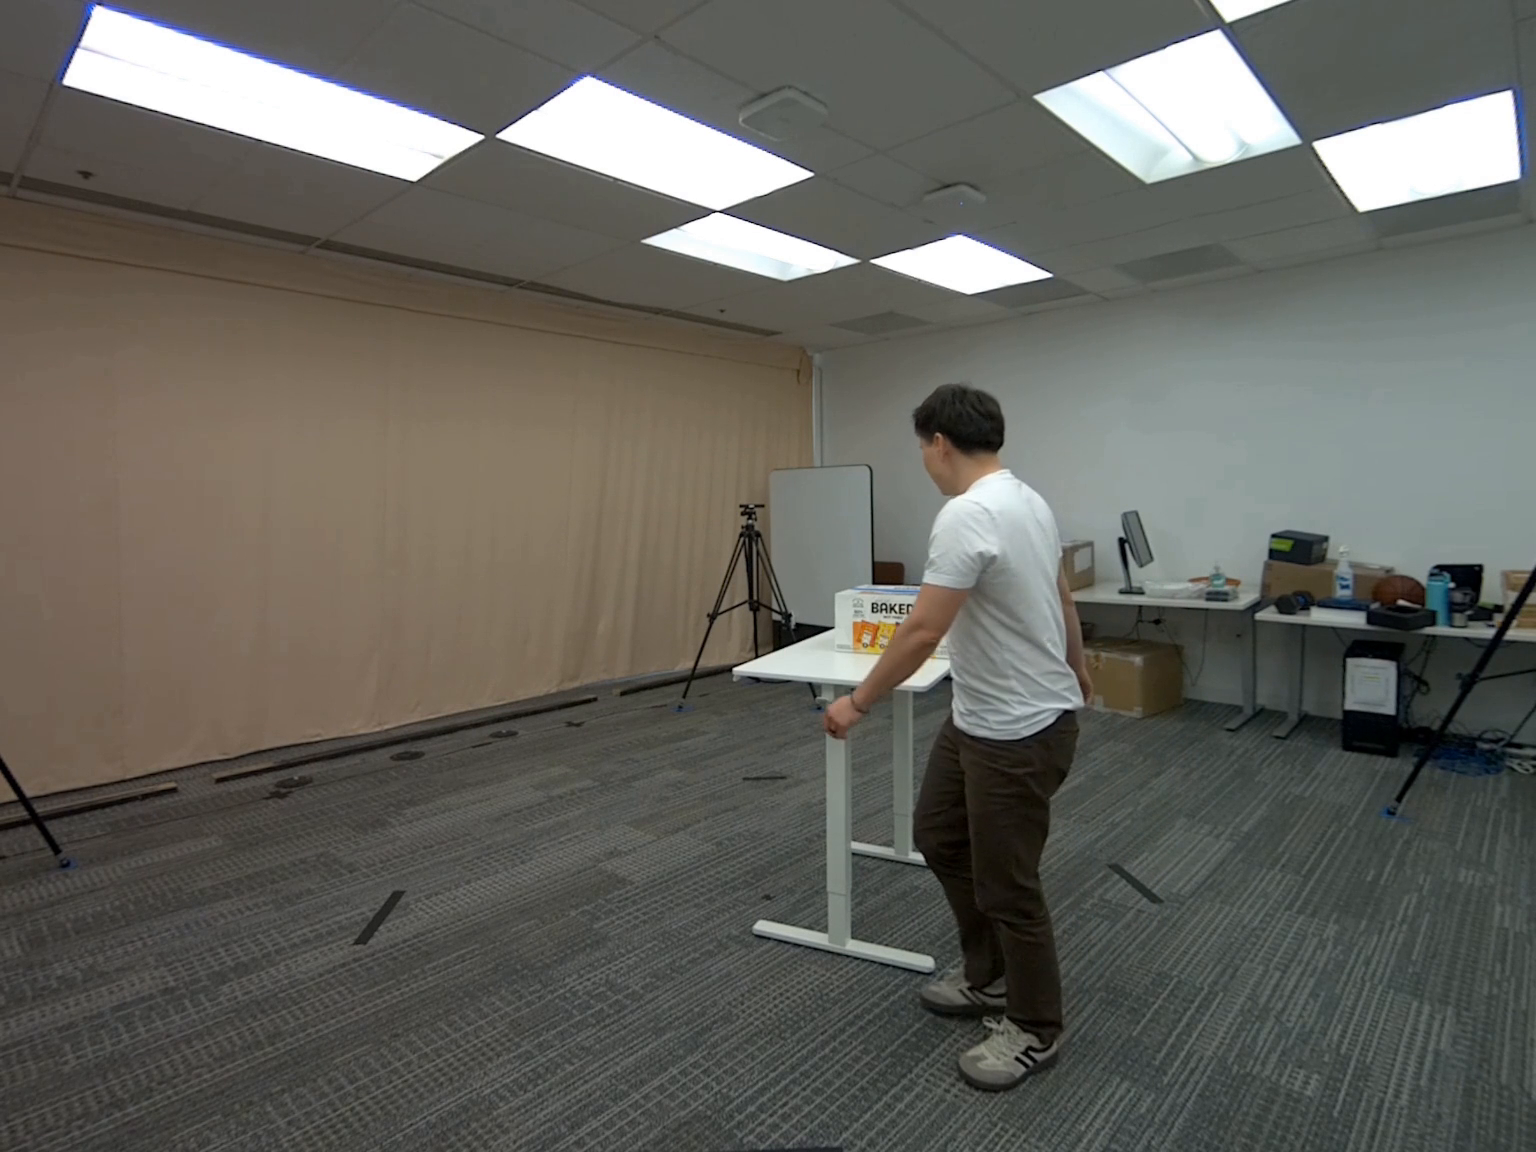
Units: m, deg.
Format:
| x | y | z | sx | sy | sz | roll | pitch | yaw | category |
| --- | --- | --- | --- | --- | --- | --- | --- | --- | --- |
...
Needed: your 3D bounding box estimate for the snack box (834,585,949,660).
| x | y | z | sx | sy | sz | roll | pitch | yaw | category |
| --- | --- | --- | --- | --- | --- | --- | --- | --- | --- |
| 0.487 | 0.153 | 2.944 | 0.416 | 0.205 | 0.332 | 2 | 5 | 25 | snack box |
